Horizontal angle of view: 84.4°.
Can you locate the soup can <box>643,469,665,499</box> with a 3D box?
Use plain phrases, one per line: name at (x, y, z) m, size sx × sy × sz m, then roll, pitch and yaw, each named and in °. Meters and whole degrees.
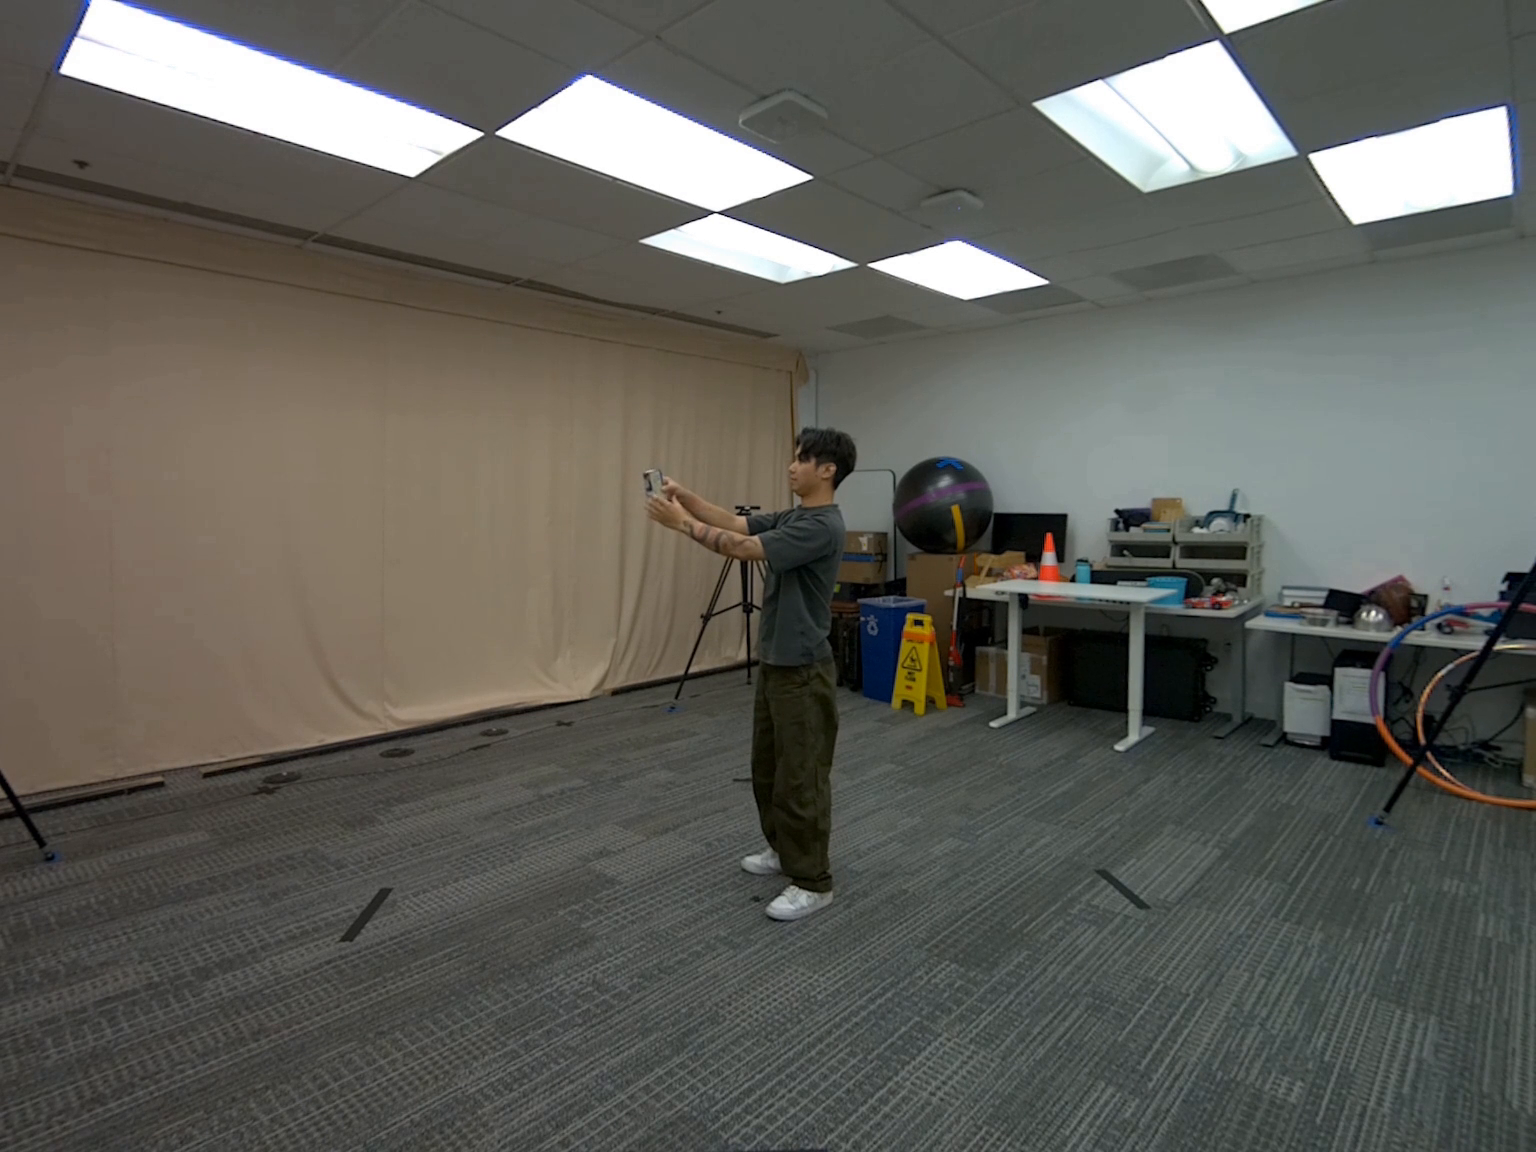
soup can at (-0.396, -0.309, 2.941) m, size 0.067 × 0.120 × 0.067 m, roll -12°, pitch 10°, yaw 0°
